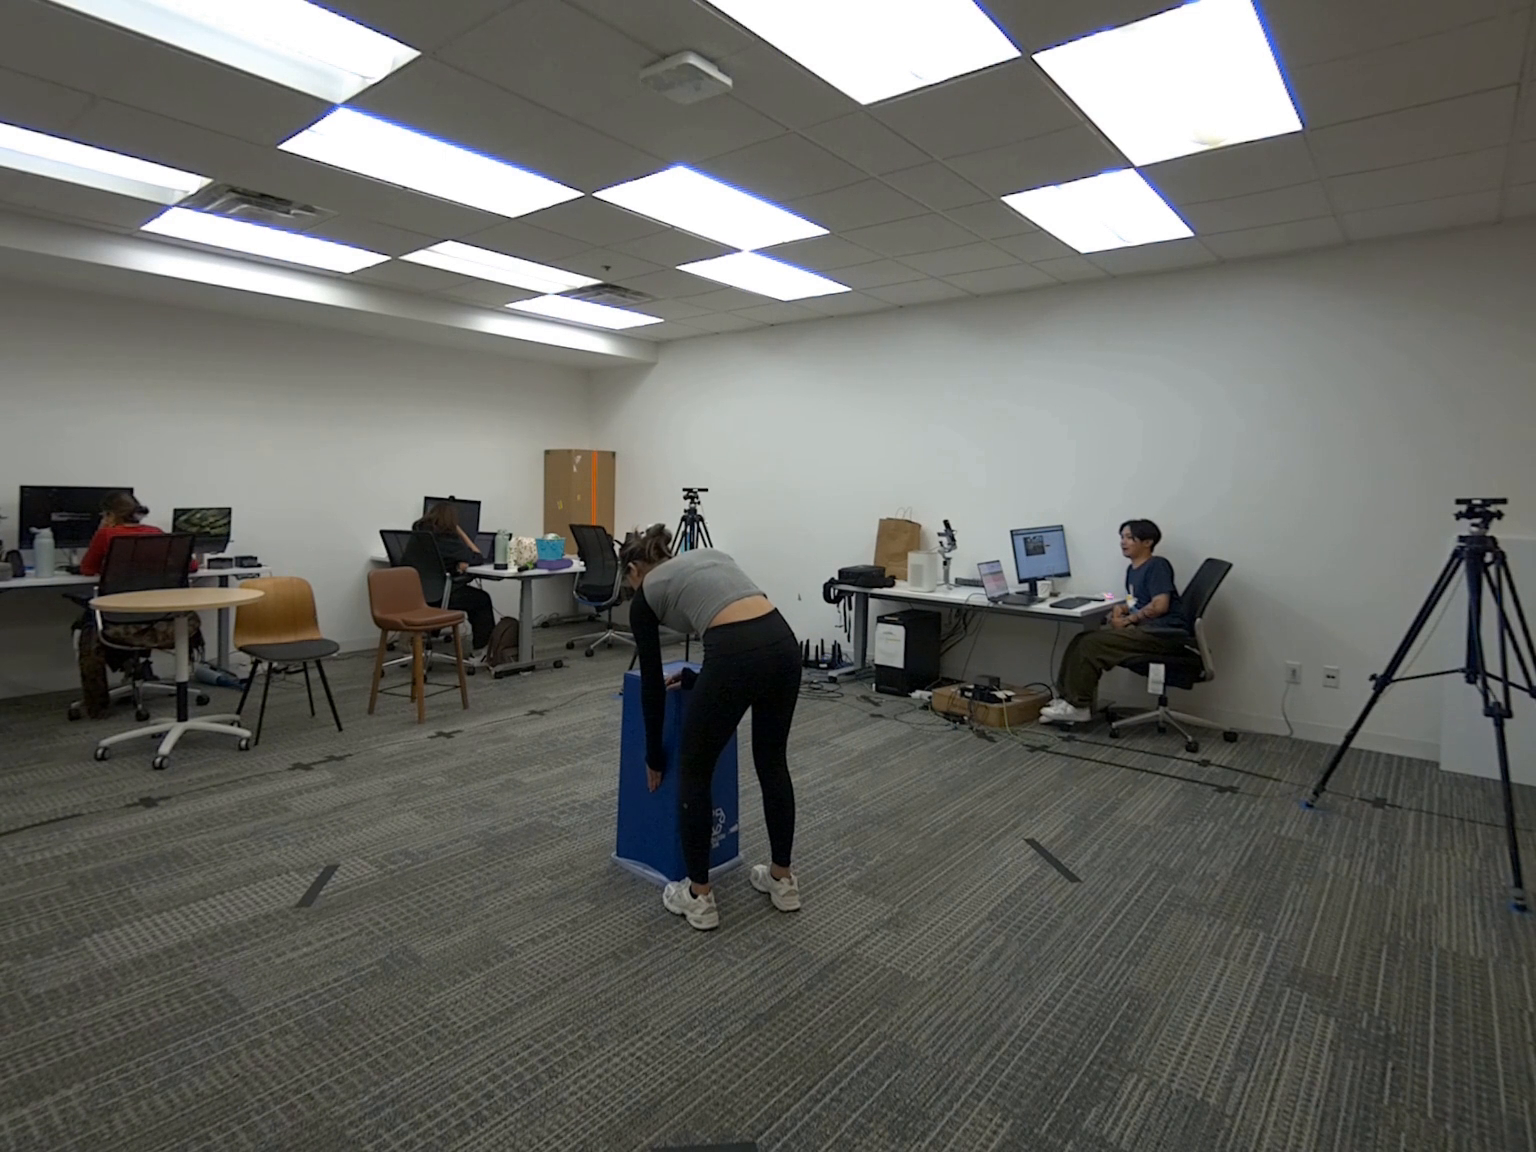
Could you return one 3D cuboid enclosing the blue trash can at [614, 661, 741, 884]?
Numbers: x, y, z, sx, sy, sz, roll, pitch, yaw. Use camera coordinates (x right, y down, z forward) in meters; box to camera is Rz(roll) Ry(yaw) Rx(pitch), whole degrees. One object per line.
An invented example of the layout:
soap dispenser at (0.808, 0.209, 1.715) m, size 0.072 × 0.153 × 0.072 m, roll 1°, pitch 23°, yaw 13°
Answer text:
blue trash can at (-0.349, 0.710, 3.162) m, size 0.391 × 0.712 × 0.363 m, roll 3°, pitch 4°, yaw 43°
